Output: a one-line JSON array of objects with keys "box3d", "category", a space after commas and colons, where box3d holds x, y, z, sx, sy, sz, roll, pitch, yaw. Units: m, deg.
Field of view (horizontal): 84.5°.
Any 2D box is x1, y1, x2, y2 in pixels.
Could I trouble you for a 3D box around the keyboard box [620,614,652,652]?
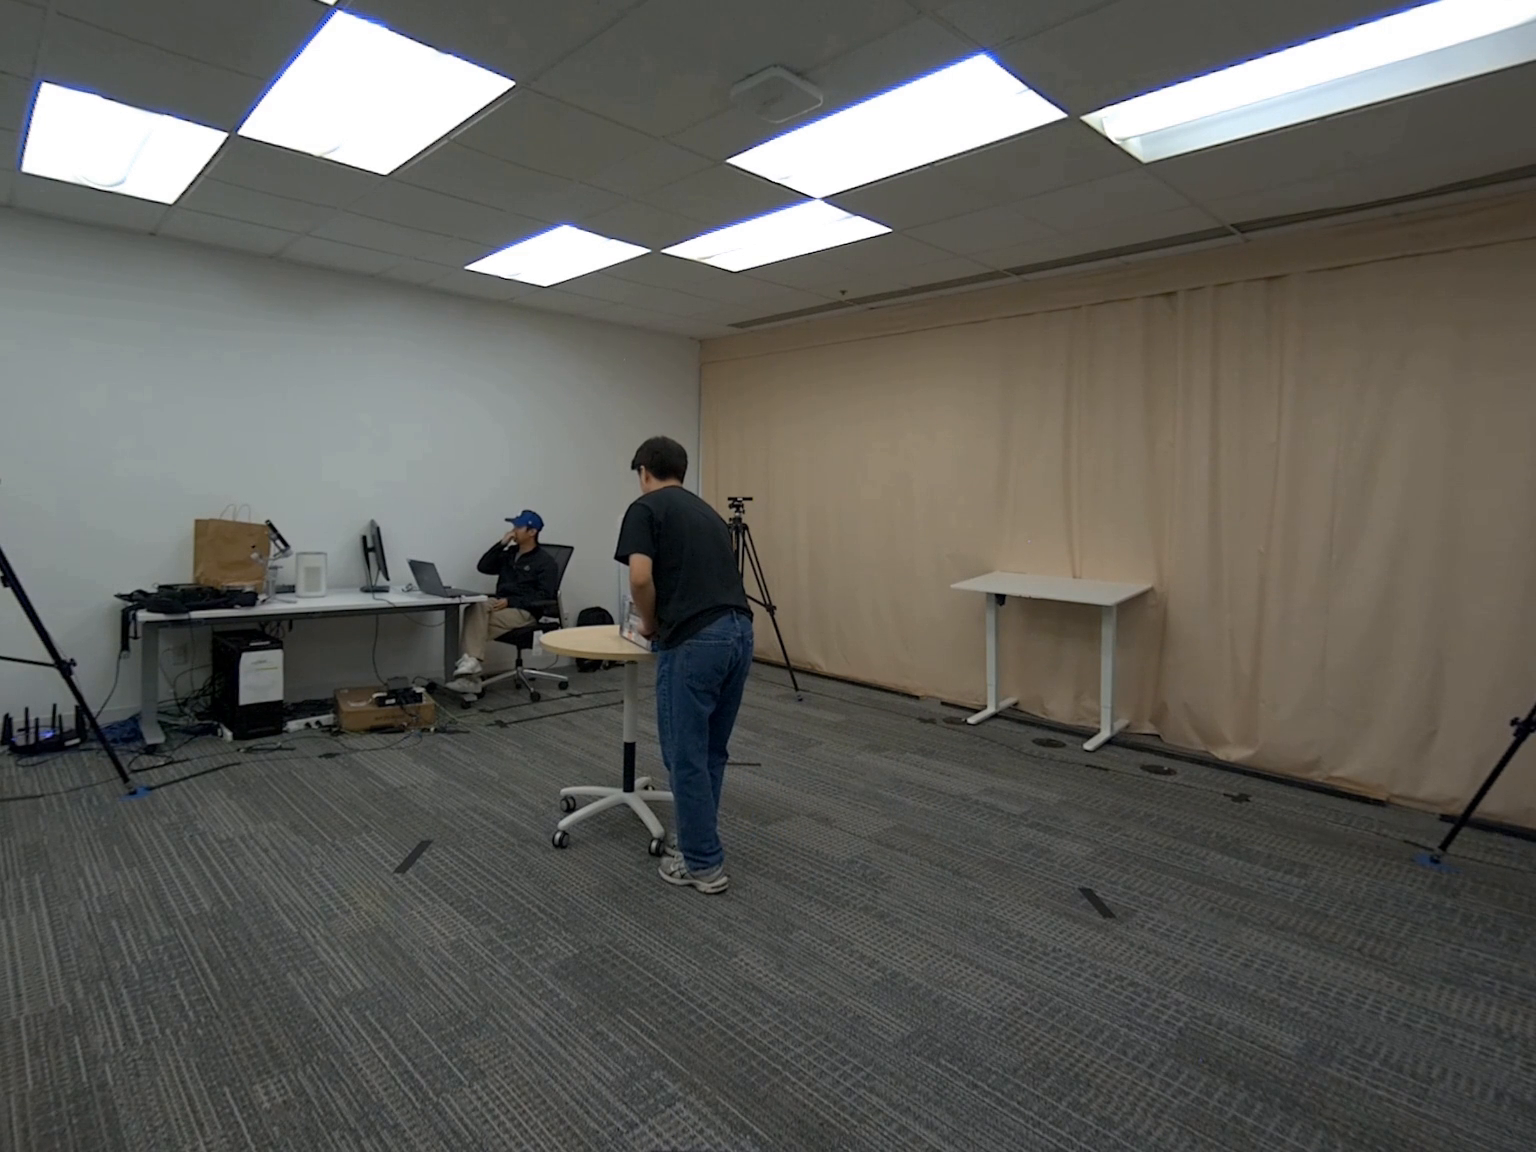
[{"box3d": [-0.514, 0.190, 3.419, 0.058, 0.176, 0.445, 4, 3, -22], "category": "keyboard box"}]
